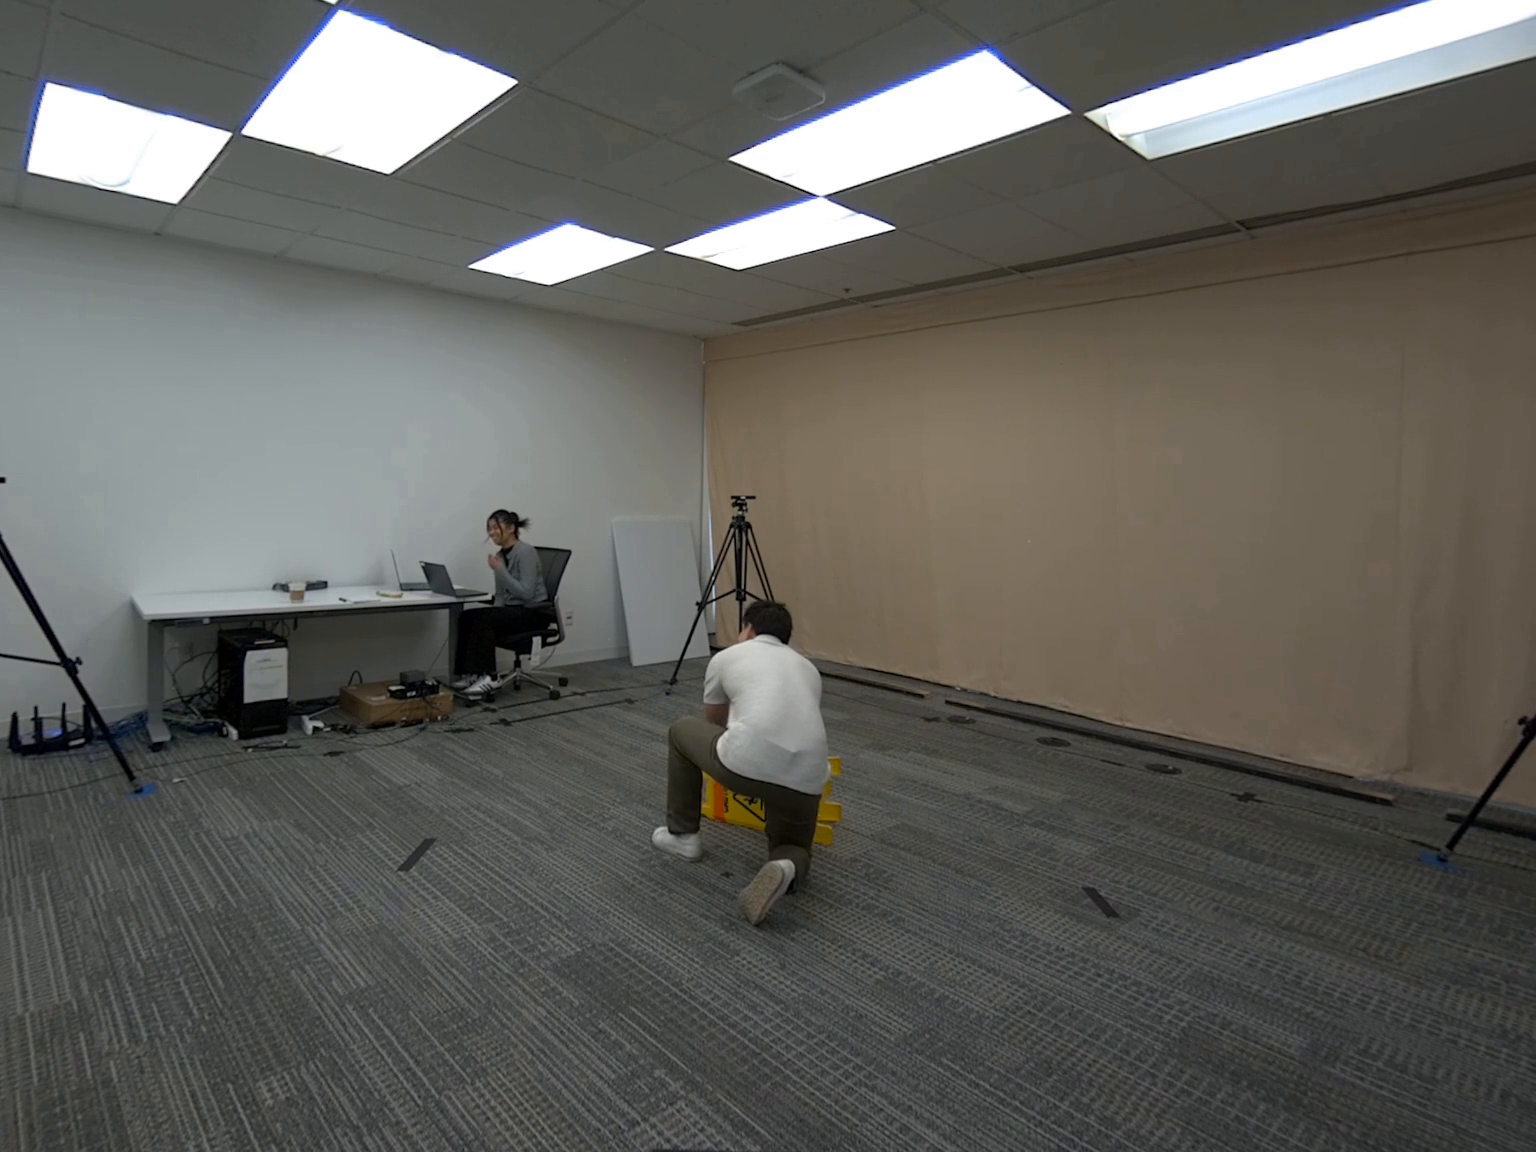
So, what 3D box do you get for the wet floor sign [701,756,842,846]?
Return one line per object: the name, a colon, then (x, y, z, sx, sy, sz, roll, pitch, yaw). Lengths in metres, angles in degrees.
wet floor sign: (-0.033, 0.935, 3.603, 0.653, 0.281, 0.287, 0, 4, 14)
